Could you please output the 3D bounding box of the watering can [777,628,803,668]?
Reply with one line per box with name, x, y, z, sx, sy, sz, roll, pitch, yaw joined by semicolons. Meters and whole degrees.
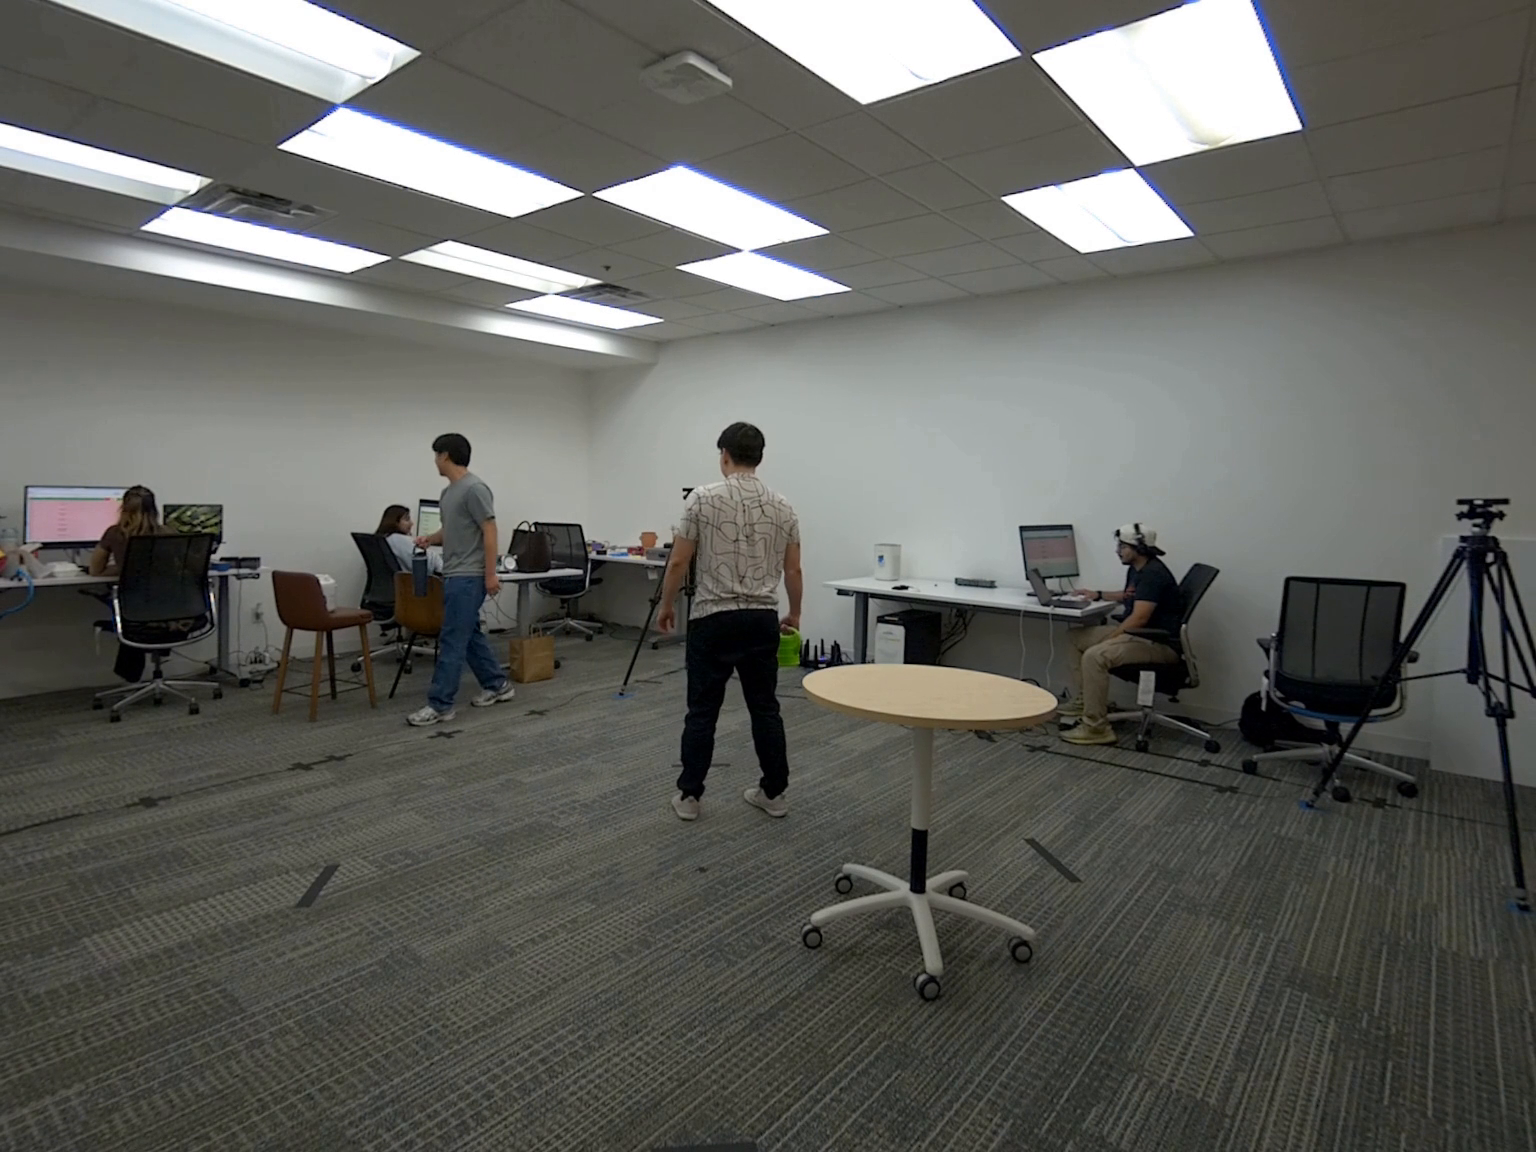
watering can;0.036;0.309;3.868;0.095;0.176;0.287;-8;7;-36
